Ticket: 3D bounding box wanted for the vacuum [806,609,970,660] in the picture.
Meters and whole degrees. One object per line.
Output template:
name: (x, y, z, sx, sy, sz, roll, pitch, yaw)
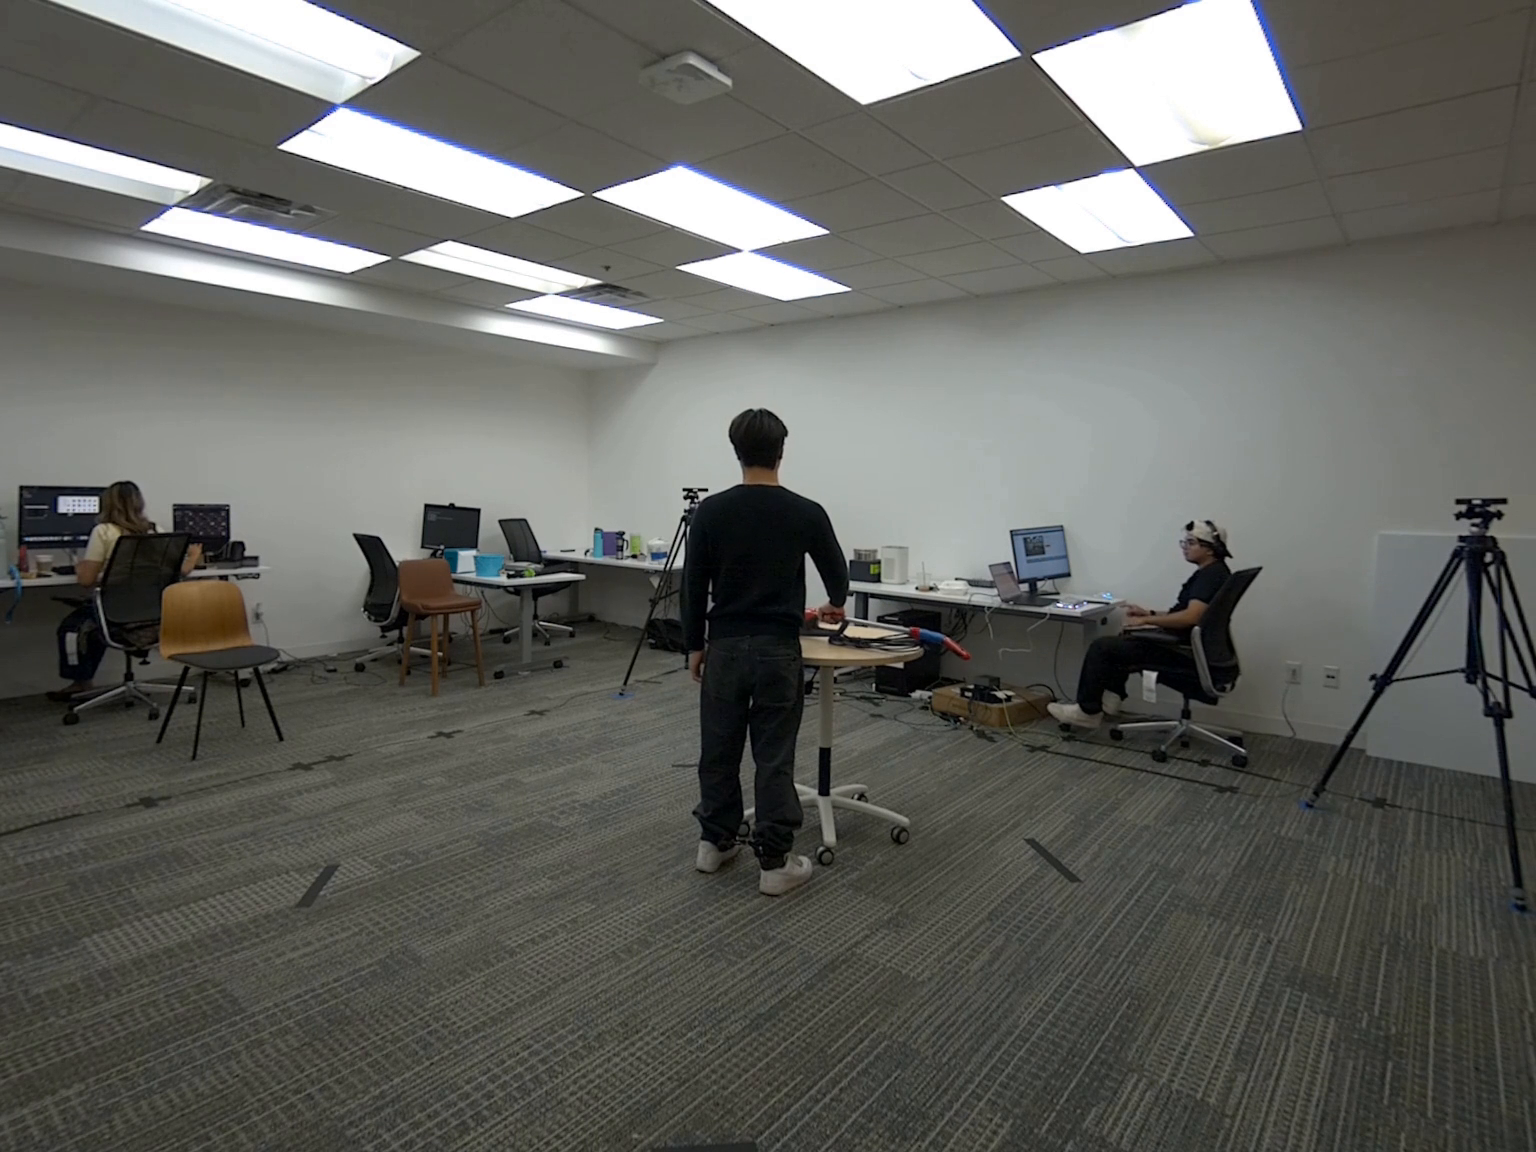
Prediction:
vacuum: (0.306, 0.216, 3.376, 1.087, 0.142, 0.247, 9, 18, 41)
